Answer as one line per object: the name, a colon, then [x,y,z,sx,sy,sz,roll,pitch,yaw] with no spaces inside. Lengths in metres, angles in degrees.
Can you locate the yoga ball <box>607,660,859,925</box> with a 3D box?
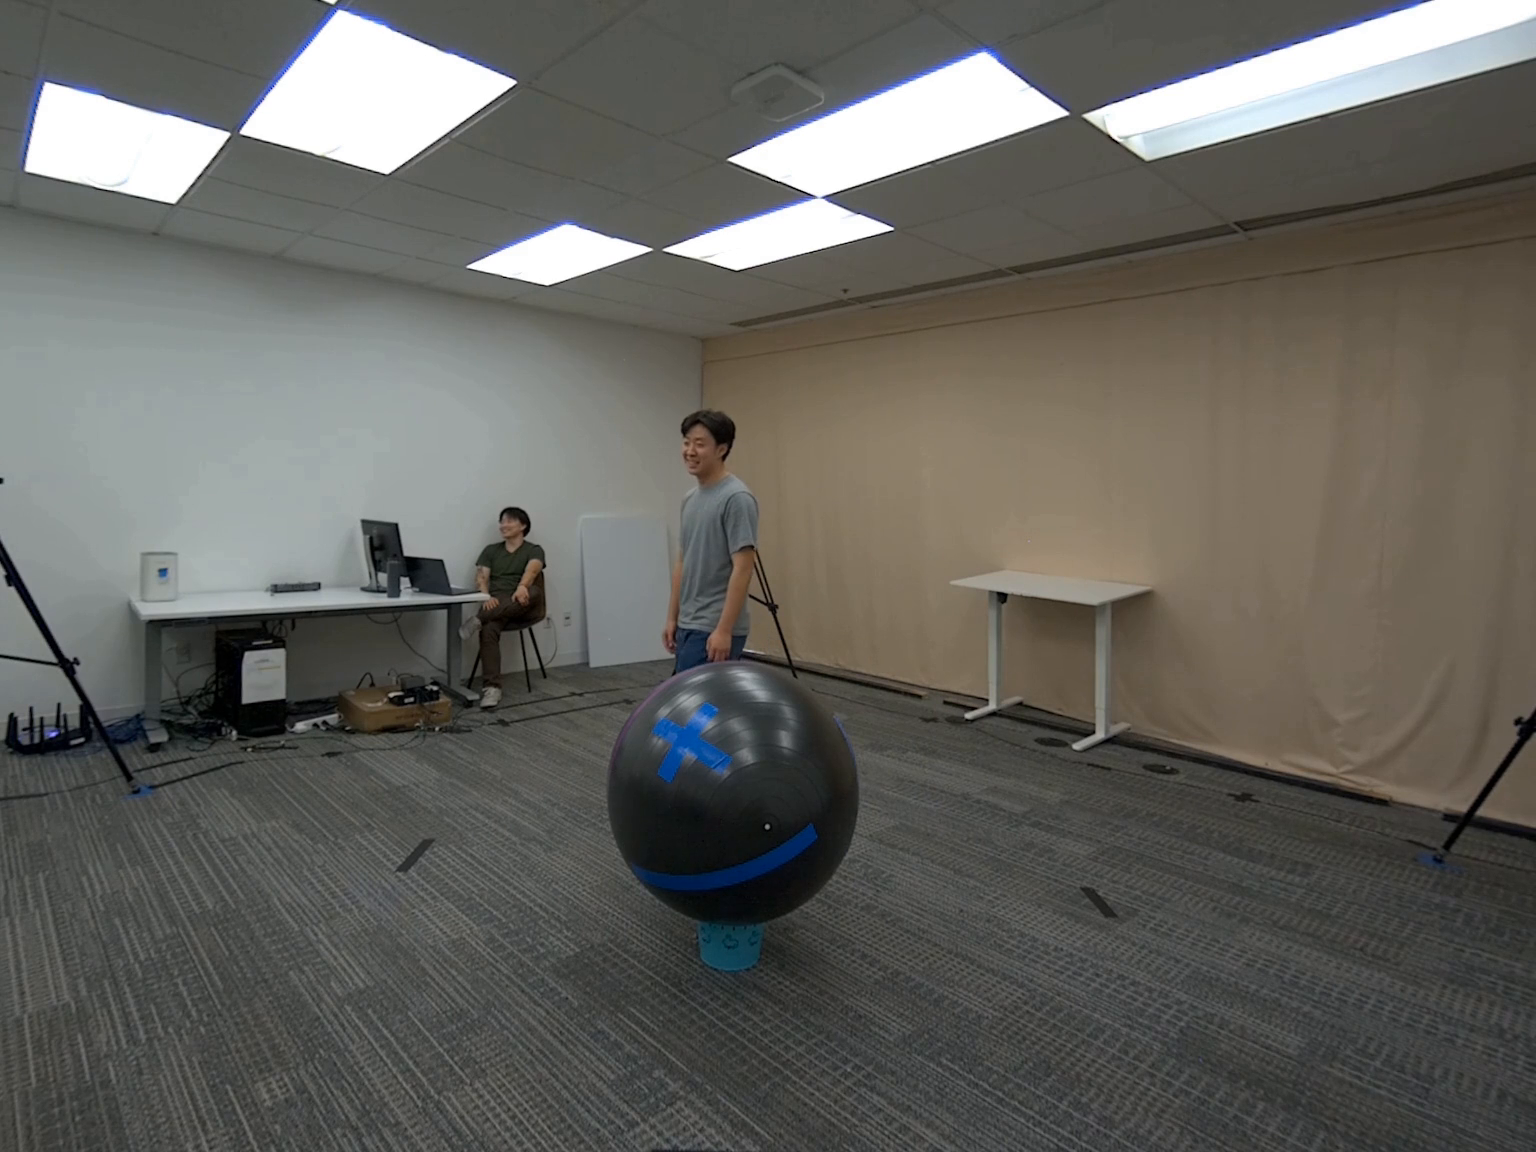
yoga ball: [-0.107,0.646,2.530,0.757,0.756,0.761,1,4,-1]
